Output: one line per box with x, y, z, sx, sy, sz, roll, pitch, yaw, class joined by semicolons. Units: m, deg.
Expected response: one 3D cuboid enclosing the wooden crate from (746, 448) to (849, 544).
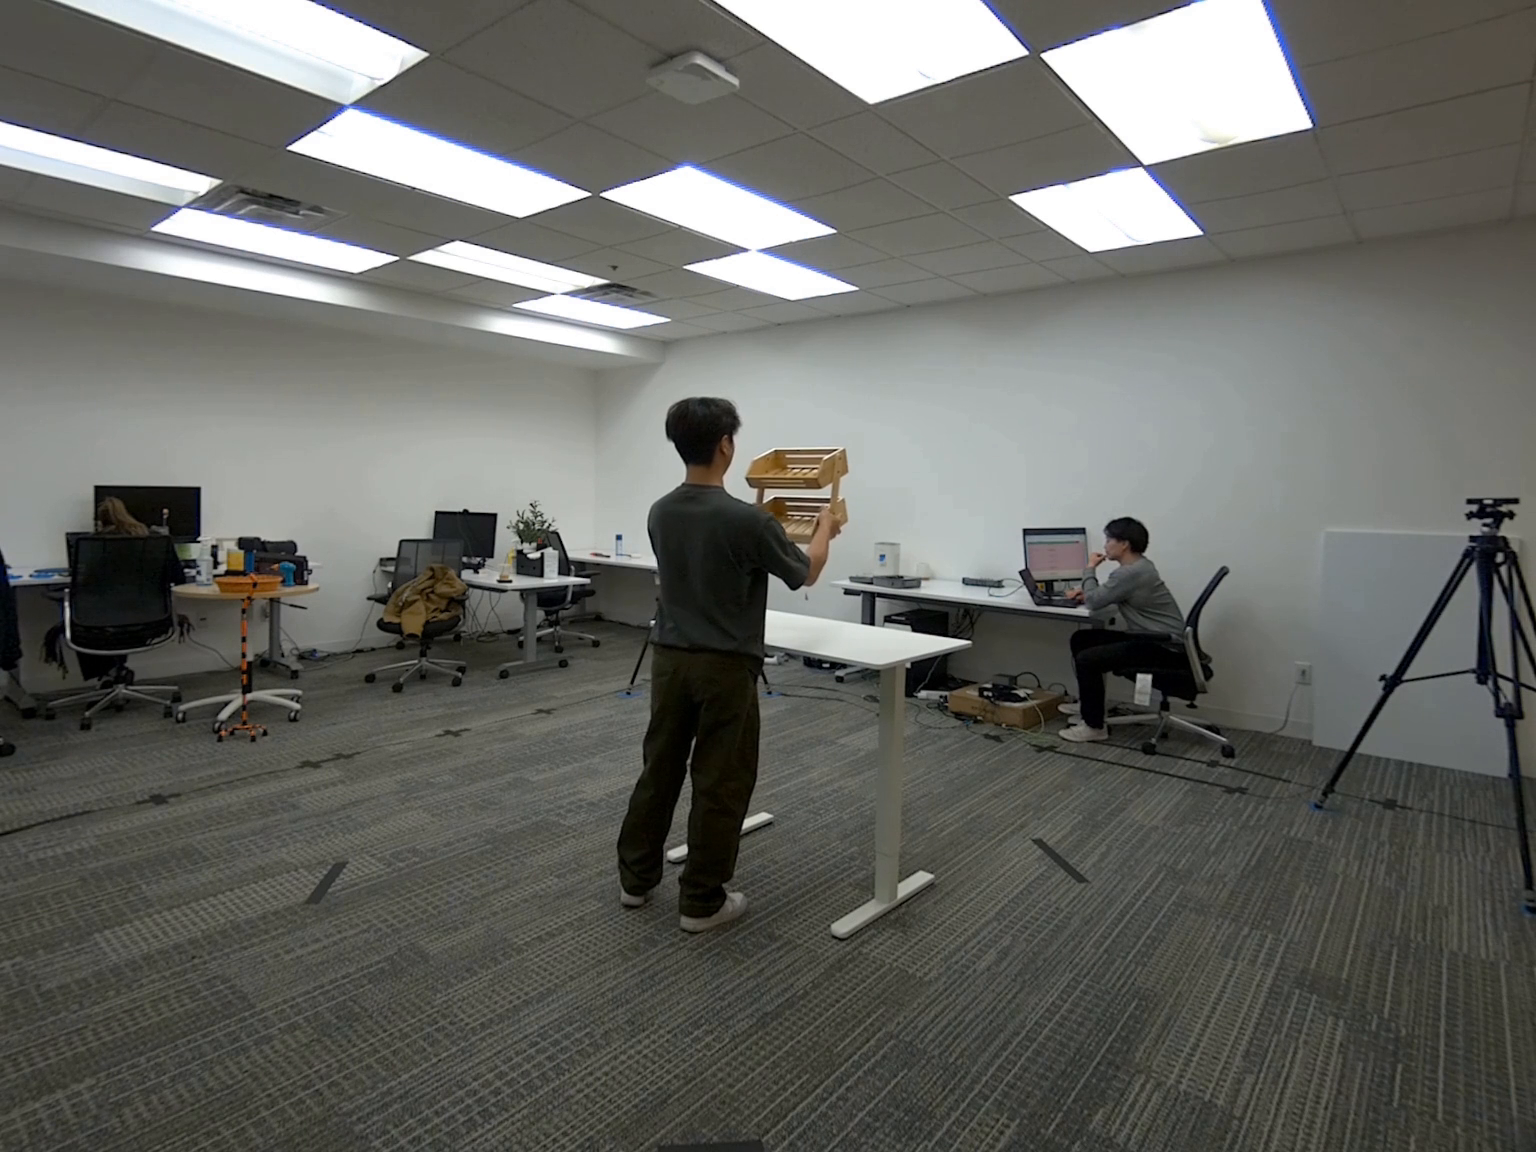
0.072;-0.293;3.014;0.335;0.268;0.298;5;24;35;wooden crate
